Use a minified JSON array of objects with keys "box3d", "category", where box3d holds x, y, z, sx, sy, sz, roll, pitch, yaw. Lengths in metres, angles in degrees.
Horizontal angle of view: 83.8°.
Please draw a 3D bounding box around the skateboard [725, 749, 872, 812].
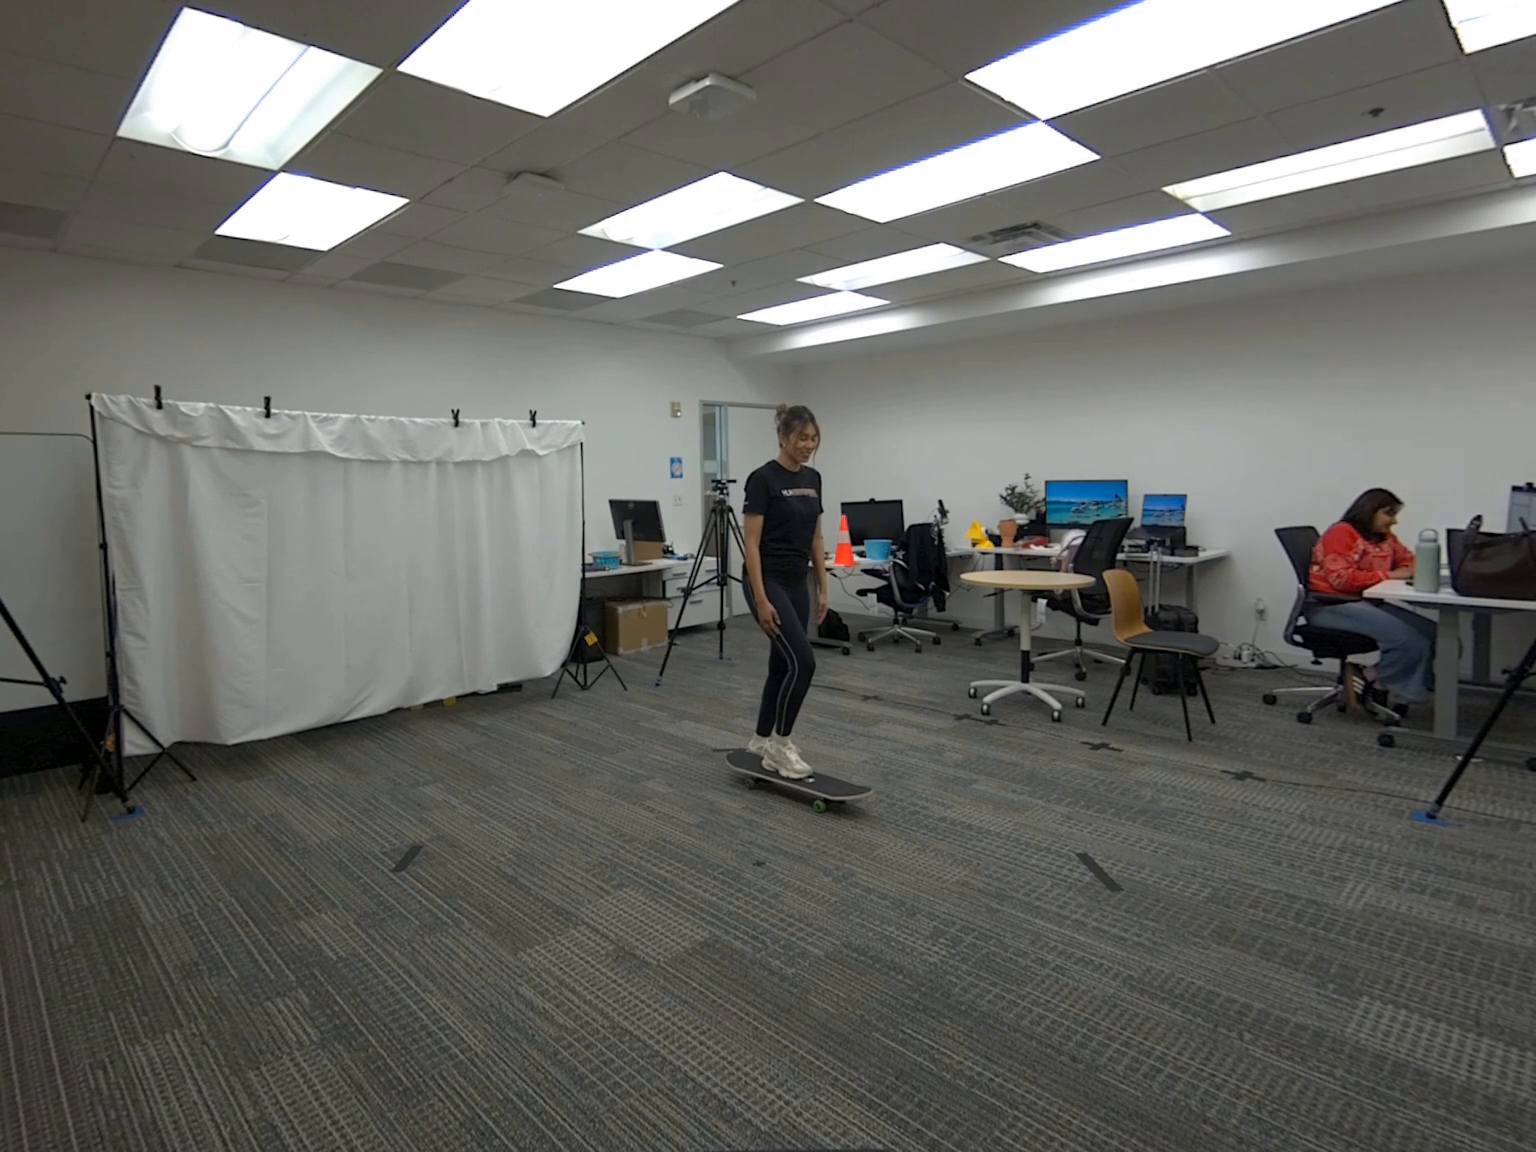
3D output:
[{"box3d":[0.123,0.917,3.783,0.810,0.110,0.188,5,8,44],"category":"skateboard"}]
